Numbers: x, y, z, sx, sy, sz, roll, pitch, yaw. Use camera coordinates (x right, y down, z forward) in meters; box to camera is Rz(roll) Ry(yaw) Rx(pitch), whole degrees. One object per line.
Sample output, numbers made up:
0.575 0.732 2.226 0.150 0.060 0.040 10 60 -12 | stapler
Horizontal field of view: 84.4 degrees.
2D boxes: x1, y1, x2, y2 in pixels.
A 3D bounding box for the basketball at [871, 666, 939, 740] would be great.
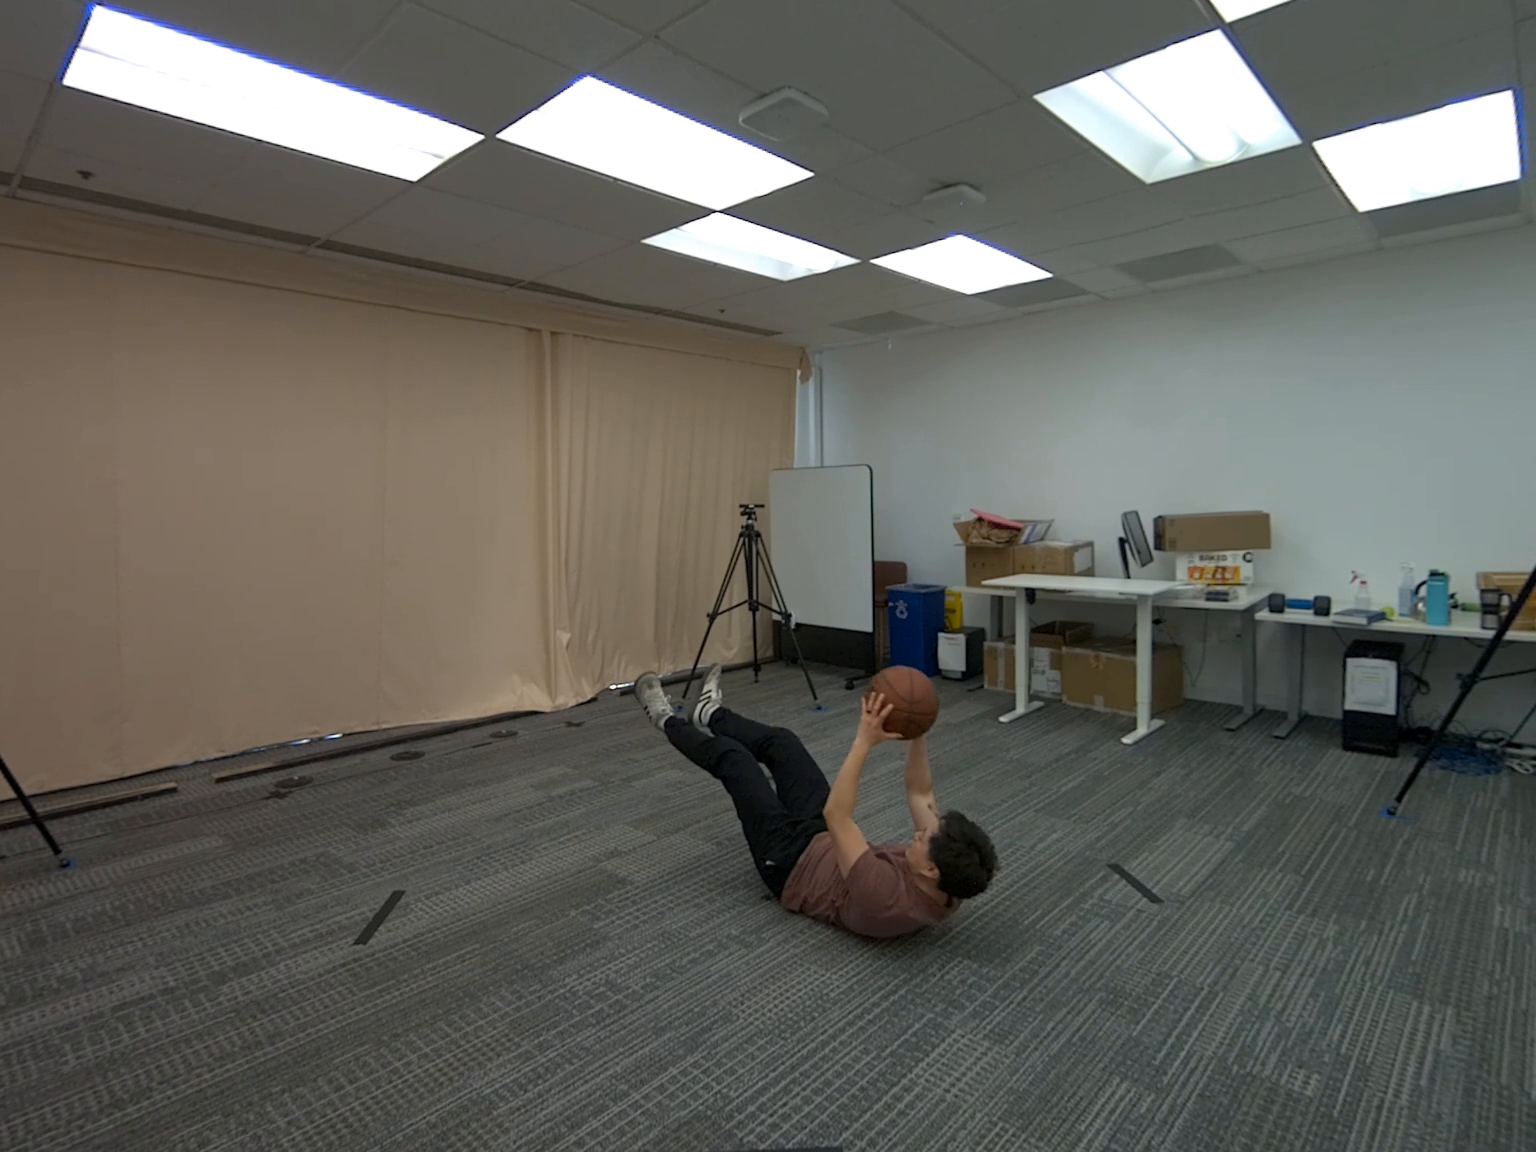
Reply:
0.431 0.419 2.707 0.236 0.235 0.236 -1 3 -2 | basketball
